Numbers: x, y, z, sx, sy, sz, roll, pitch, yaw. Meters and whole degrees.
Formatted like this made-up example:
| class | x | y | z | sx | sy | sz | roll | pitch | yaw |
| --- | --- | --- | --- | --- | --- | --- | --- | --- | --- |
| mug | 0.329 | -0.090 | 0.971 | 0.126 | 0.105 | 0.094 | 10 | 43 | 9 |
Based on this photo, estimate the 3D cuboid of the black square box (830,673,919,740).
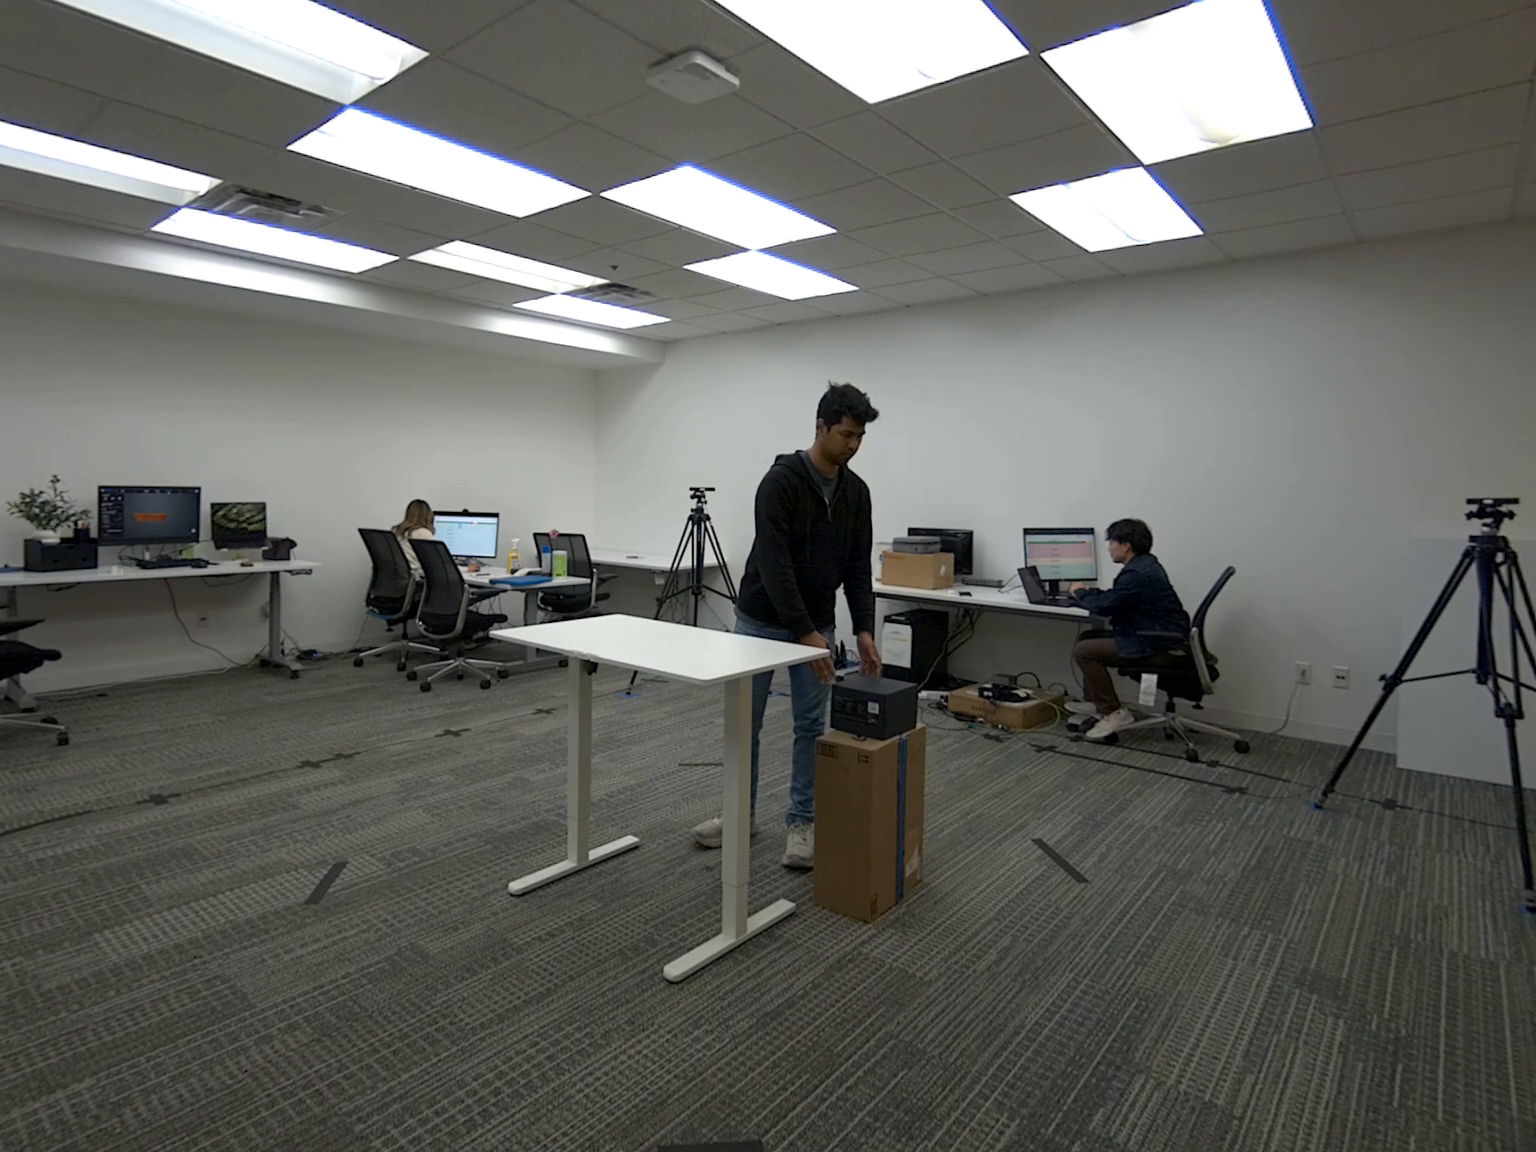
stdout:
| class | x | y | z | sx | sy | sz | roll | pitch | yaw |
| --- | --- | --- | --- | --- | --- | --- | --- | --- | --- |
| black square box | 0.366 | 0.453 | 2.955 | 0.224 | 0.155 | 0.221 | 4 | 6 | 38 |
